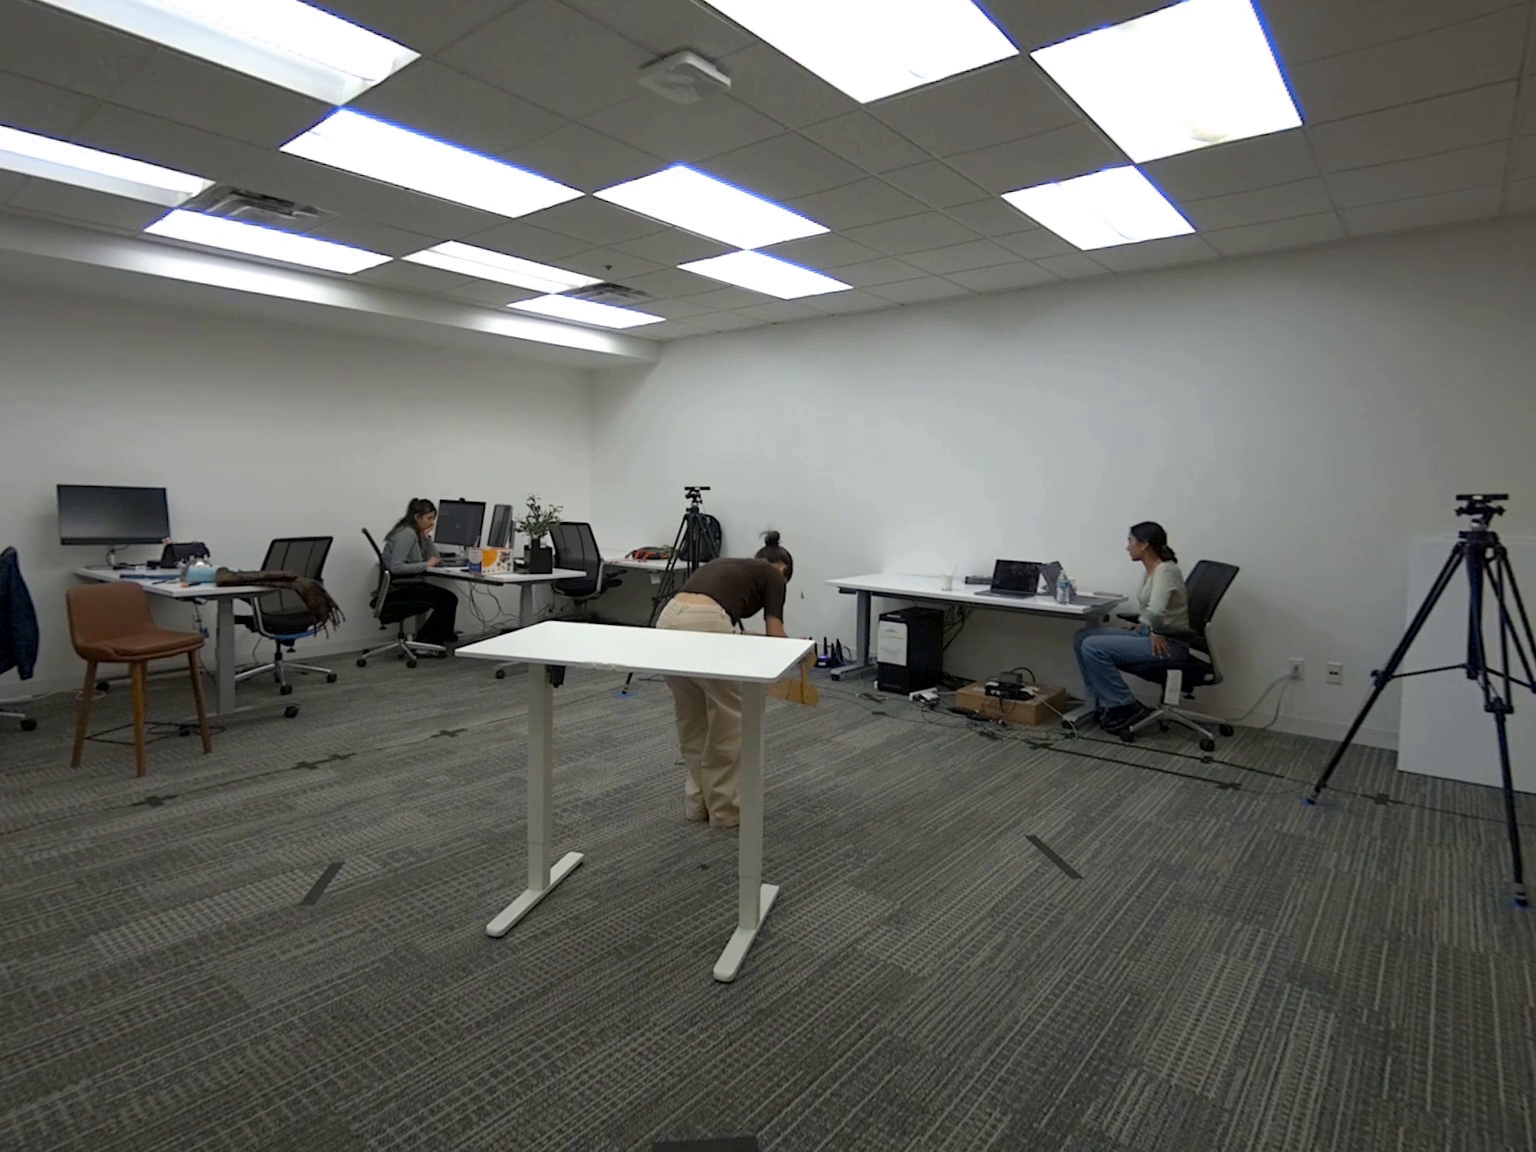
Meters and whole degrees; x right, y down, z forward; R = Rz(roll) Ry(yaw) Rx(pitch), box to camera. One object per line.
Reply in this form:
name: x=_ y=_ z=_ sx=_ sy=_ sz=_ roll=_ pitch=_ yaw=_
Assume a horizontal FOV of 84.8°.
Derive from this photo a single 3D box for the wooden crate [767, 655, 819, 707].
wooden crate: x=0.044 y=0.417 z=3.901 sx=0.336 sy=0.275 sz=0.290 roll=7 pitch=-10 yaw=39
